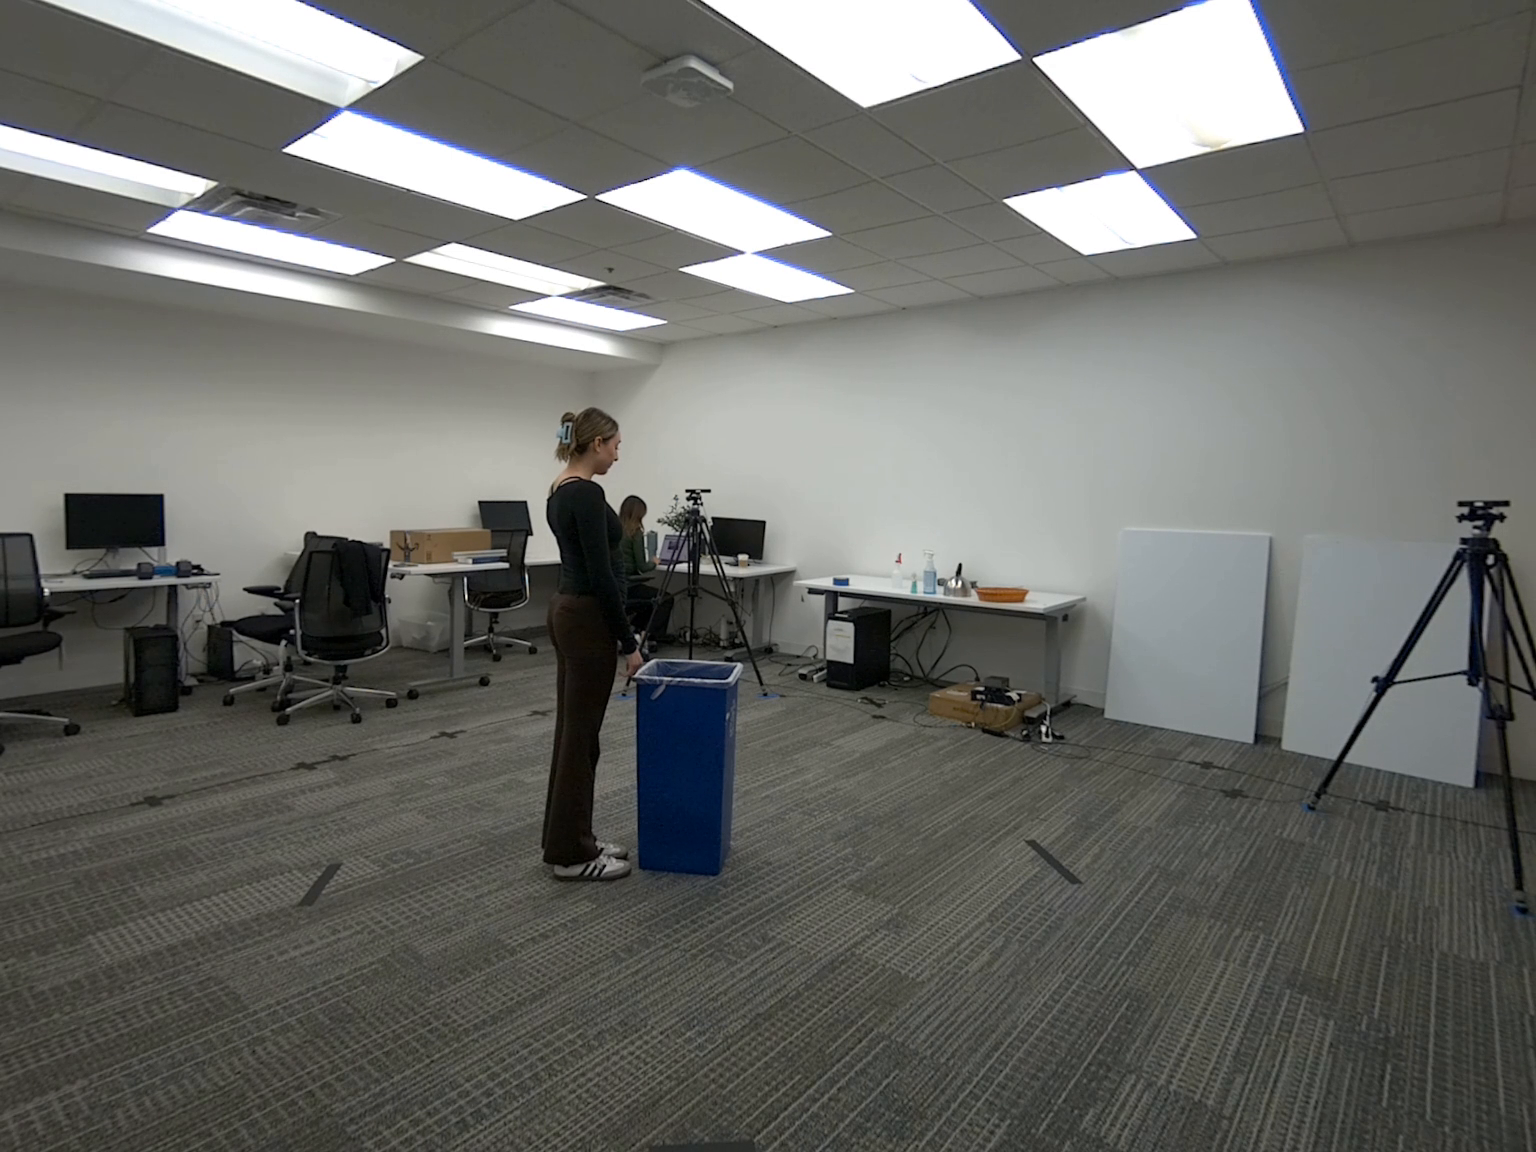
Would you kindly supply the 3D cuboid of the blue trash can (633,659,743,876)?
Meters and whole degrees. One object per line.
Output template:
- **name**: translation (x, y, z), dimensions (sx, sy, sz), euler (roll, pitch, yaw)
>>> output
- **blue trash can**: translation (-0.319, 0.705, 3.222), dimensions (0.382, 0.711, 0.372), euler (2, 3, 8)
